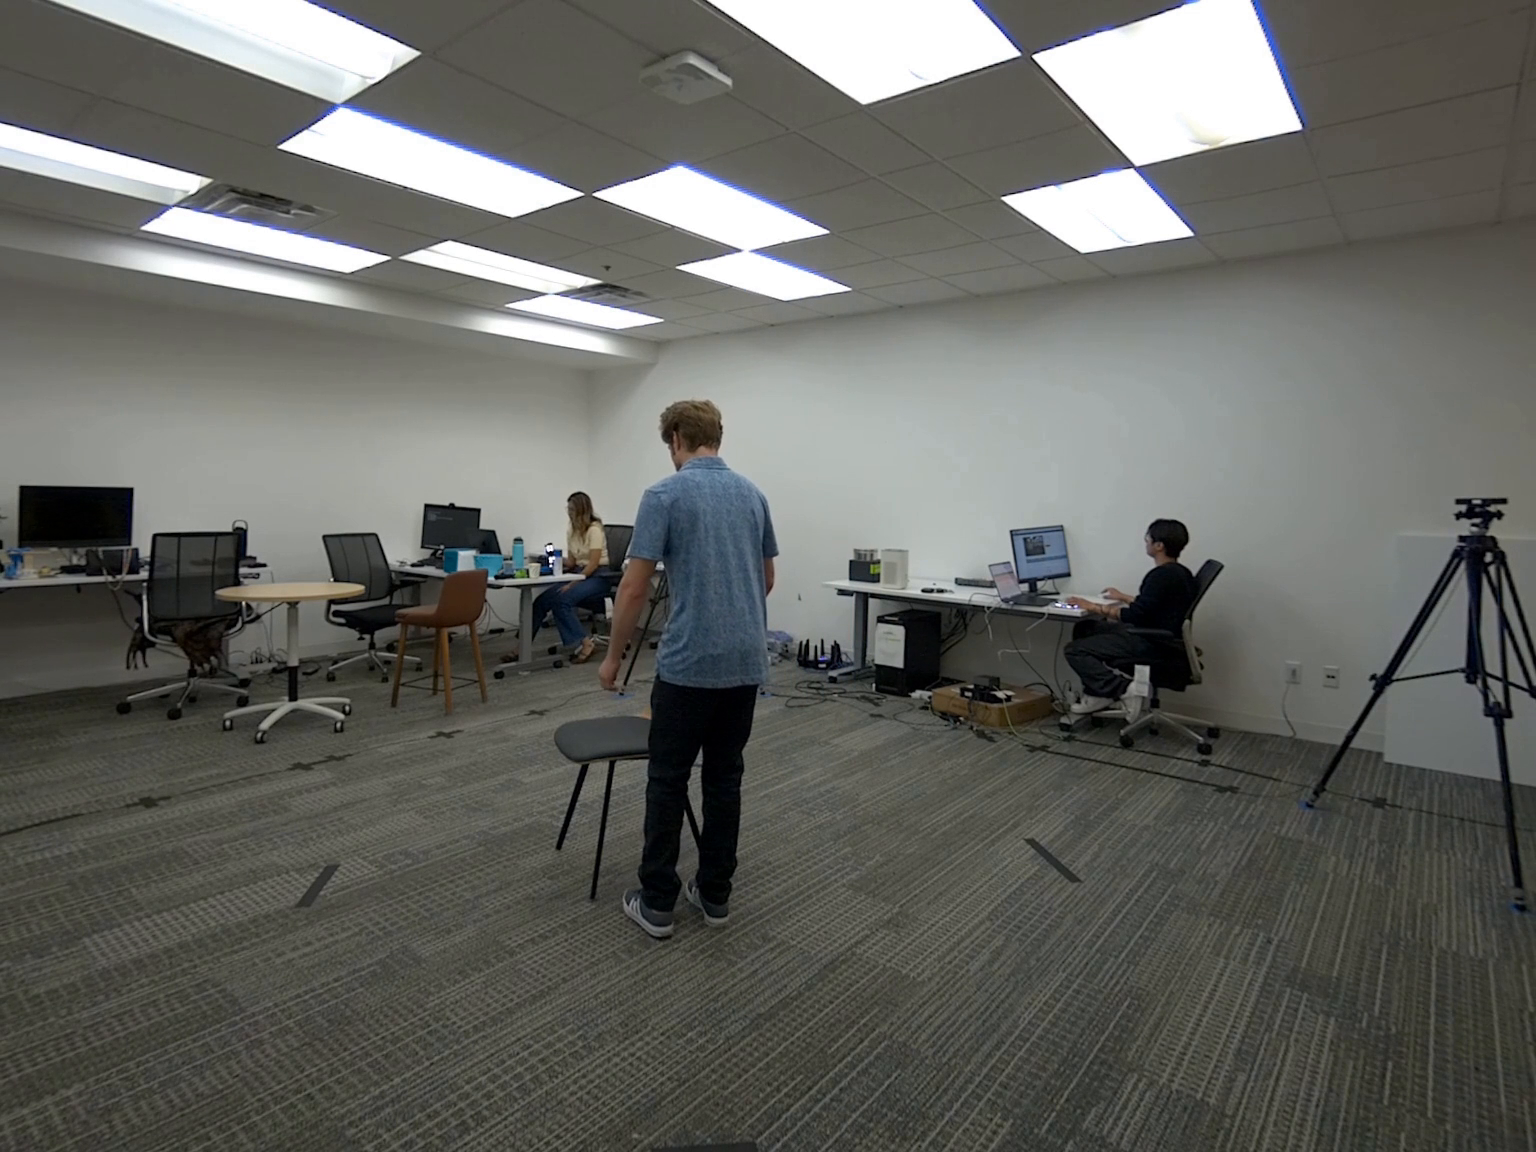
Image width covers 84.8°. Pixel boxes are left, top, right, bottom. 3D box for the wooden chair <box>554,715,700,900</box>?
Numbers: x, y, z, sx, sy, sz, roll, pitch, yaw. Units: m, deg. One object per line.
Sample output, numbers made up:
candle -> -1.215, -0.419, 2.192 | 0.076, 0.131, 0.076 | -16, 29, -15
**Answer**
wooden chair -> -0.517, 0.636, 3.129 | 0.509, 0.877, 0.492 | 4, 1, -28
